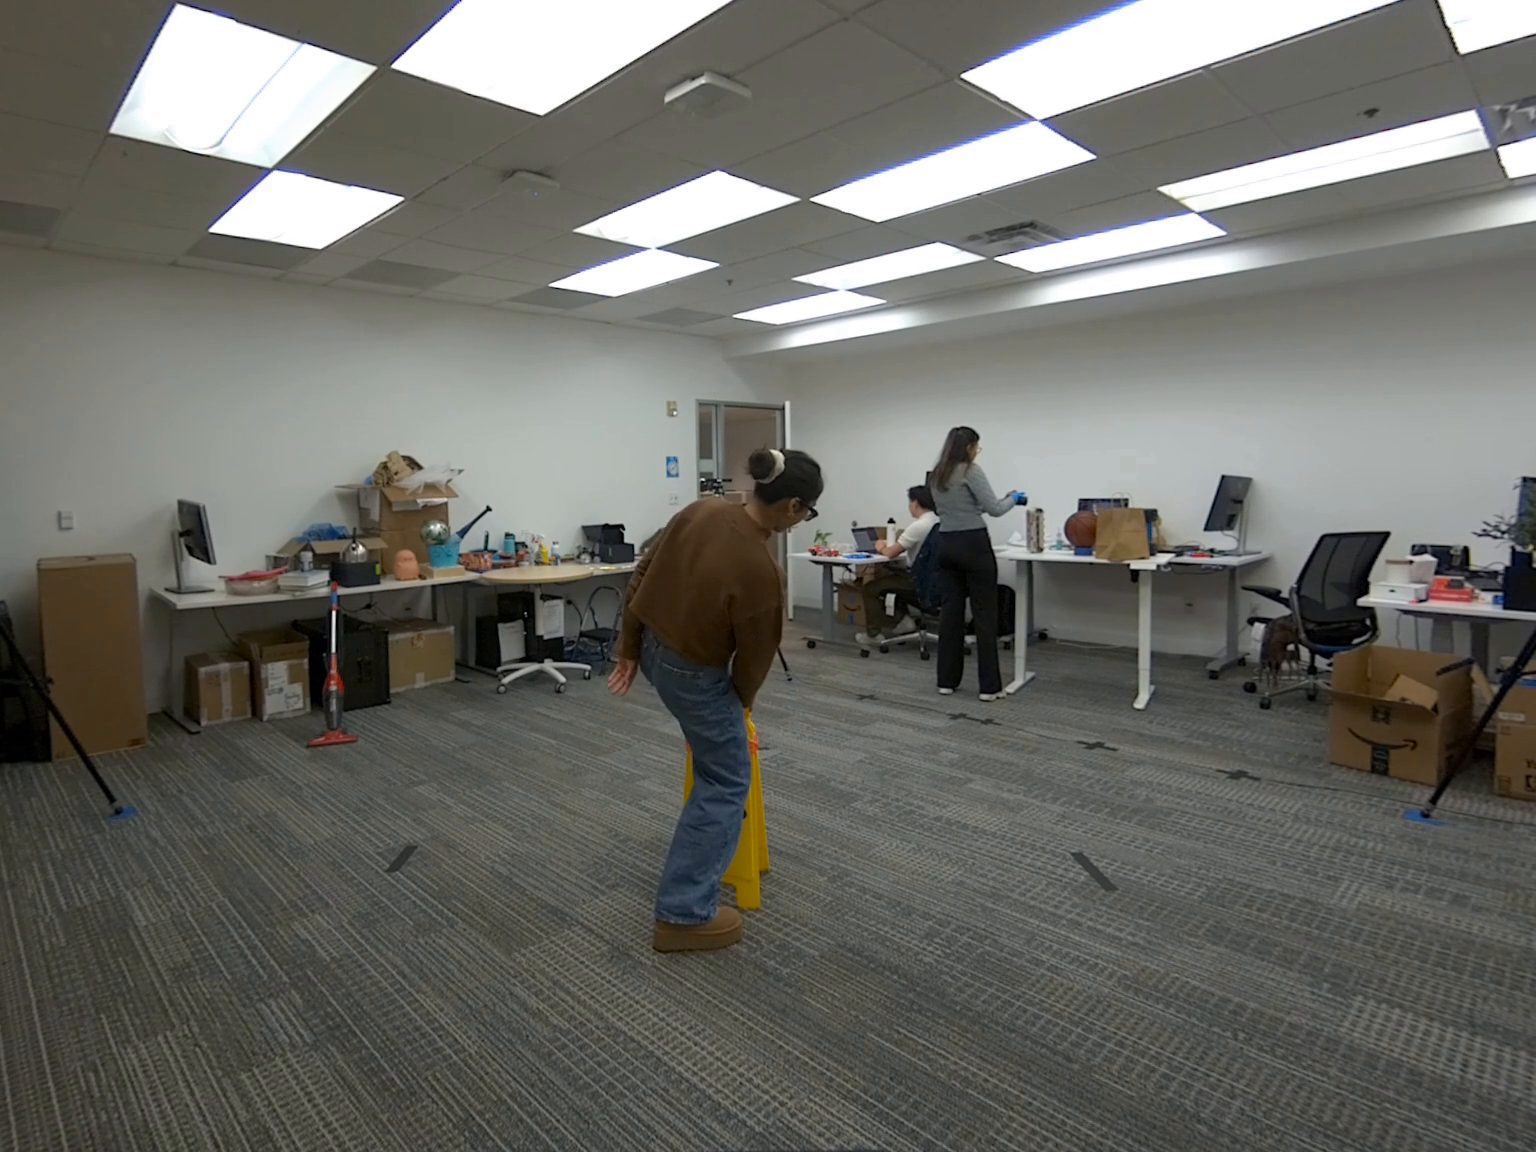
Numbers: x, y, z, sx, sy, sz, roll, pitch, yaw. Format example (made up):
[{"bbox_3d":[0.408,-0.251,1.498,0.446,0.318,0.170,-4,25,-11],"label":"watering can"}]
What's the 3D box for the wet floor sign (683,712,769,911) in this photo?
[{"bbox_3d":[-0.139,0.759,2.910,0.285,0.643,0.288,0,5,9],"label":"wet floor sign"}]
